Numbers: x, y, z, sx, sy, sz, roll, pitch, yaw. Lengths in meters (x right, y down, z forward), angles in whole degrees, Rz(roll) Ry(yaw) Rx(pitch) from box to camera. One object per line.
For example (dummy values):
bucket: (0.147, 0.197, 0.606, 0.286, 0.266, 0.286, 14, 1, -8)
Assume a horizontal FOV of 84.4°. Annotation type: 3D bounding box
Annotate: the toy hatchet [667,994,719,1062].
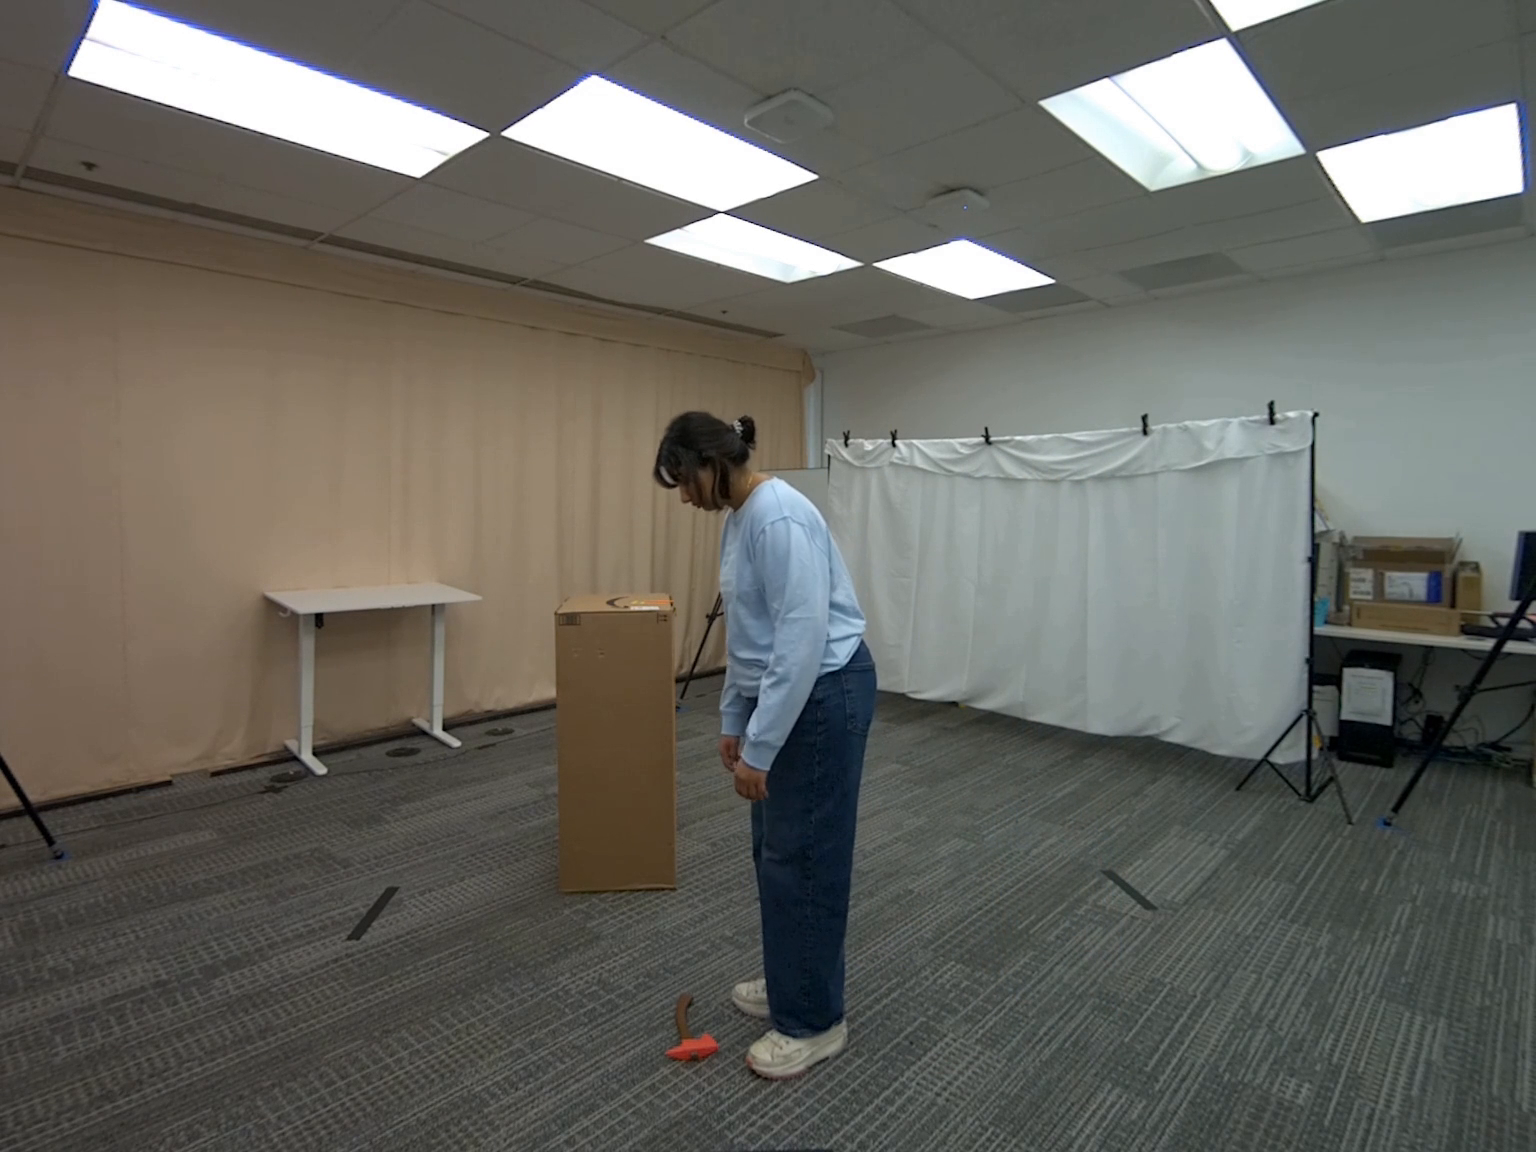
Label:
toy hatchet: (-0.186, 1.198, 2.237, 0.132, 0.029, 0.269, -1, 3, 3)
